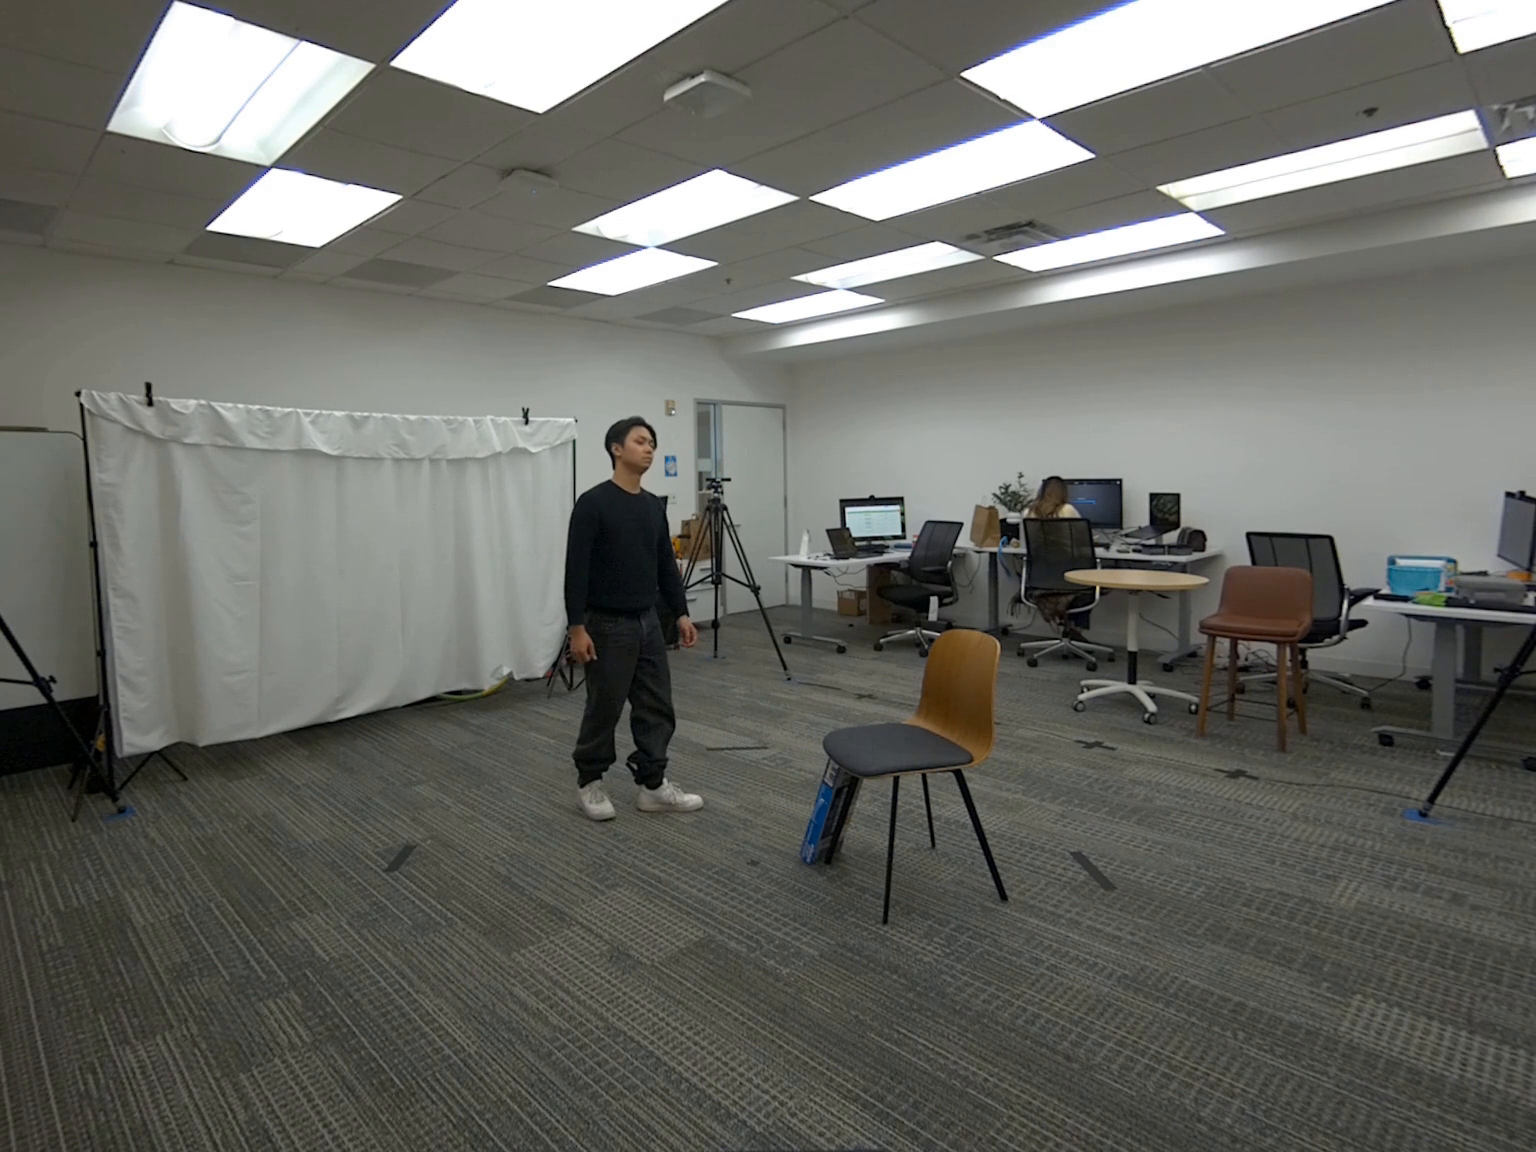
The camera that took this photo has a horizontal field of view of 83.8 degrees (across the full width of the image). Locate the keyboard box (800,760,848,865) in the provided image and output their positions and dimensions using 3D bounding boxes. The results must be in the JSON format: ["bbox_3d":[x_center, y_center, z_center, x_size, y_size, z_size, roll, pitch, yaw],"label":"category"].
[{"bbox_3d":[0.246,0.828,3.085,0.171,0.432,0.061,-4,26,-43],"label":"keyboard box"}]
